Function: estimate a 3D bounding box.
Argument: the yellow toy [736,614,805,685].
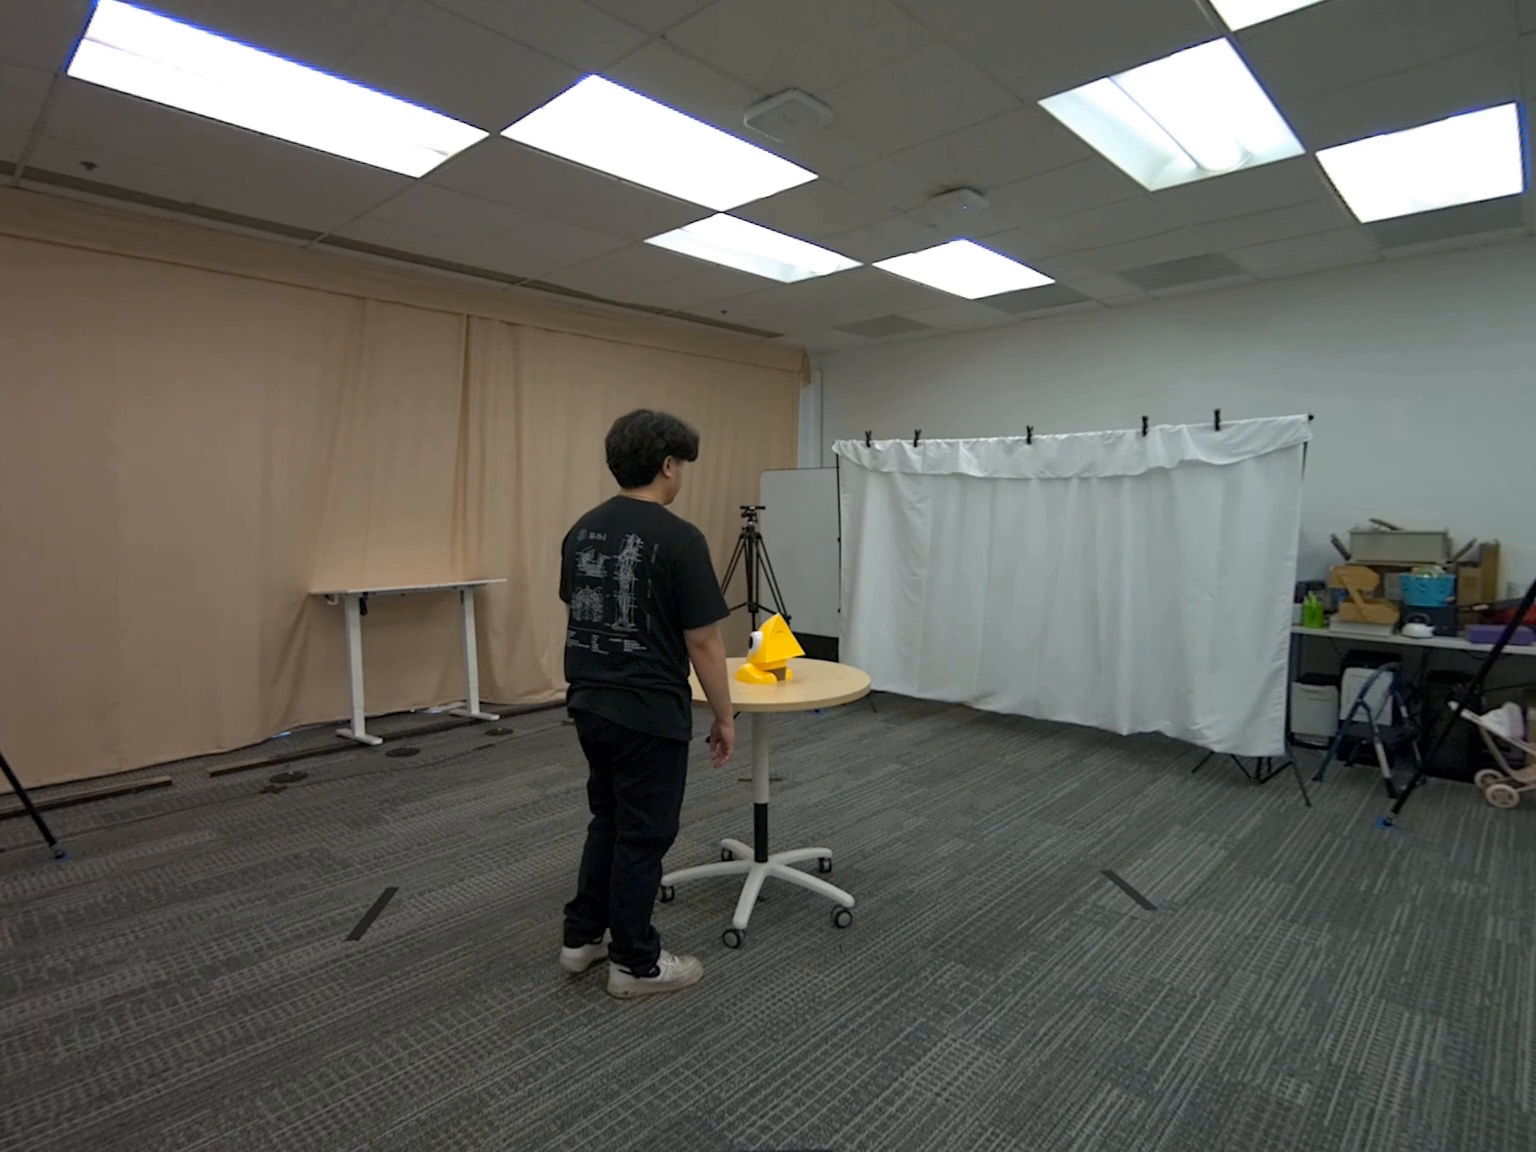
[{"bbox_3d":[-0.006,0.243,2.926,0.199,0.230,0.198,3,5,43],"label":"yellow toy"}]
